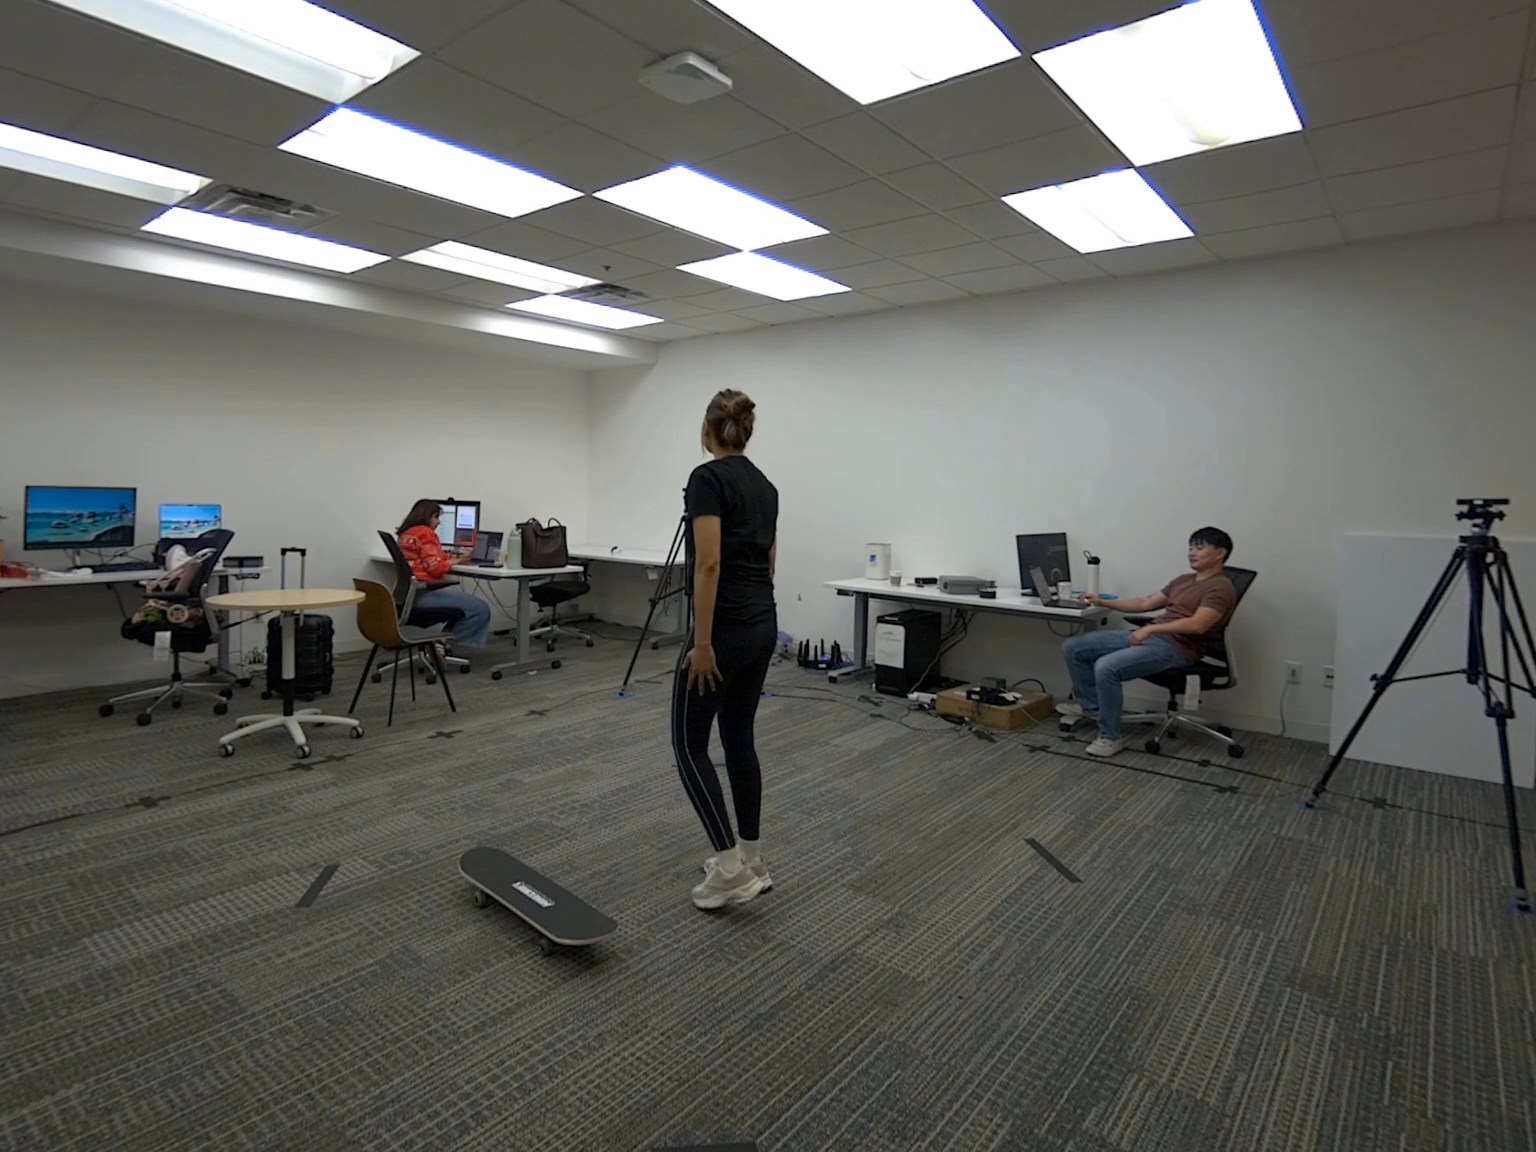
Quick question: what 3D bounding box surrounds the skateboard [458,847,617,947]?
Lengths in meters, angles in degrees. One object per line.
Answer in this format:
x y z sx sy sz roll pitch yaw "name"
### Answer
-0.759 1.043 2.711 0.812 0.110 0.188 6 7 44 "skateboard"
